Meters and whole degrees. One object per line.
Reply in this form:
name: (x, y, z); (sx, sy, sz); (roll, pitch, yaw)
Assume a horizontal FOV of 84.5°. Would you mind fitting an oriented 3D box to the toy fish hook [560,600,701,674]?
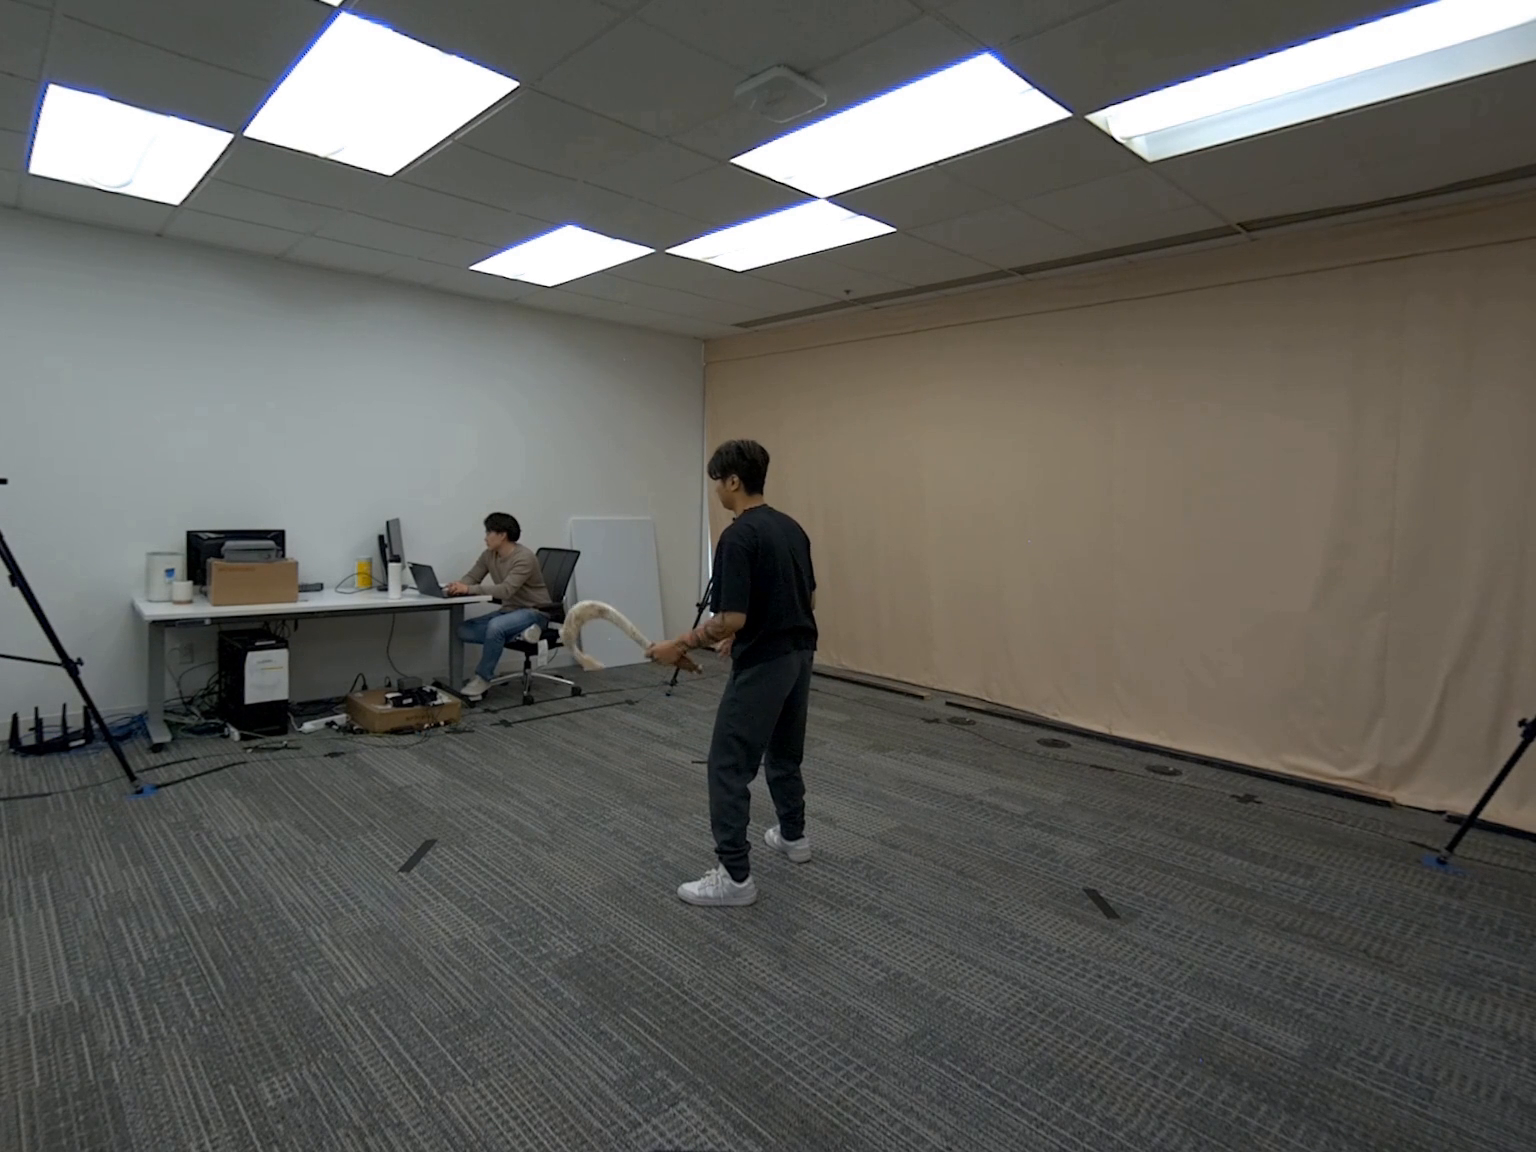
toy fish hook: (-0.468, 0.257, 2.930); (0.505, 0.224, 0.048); (26, 4, -3)
